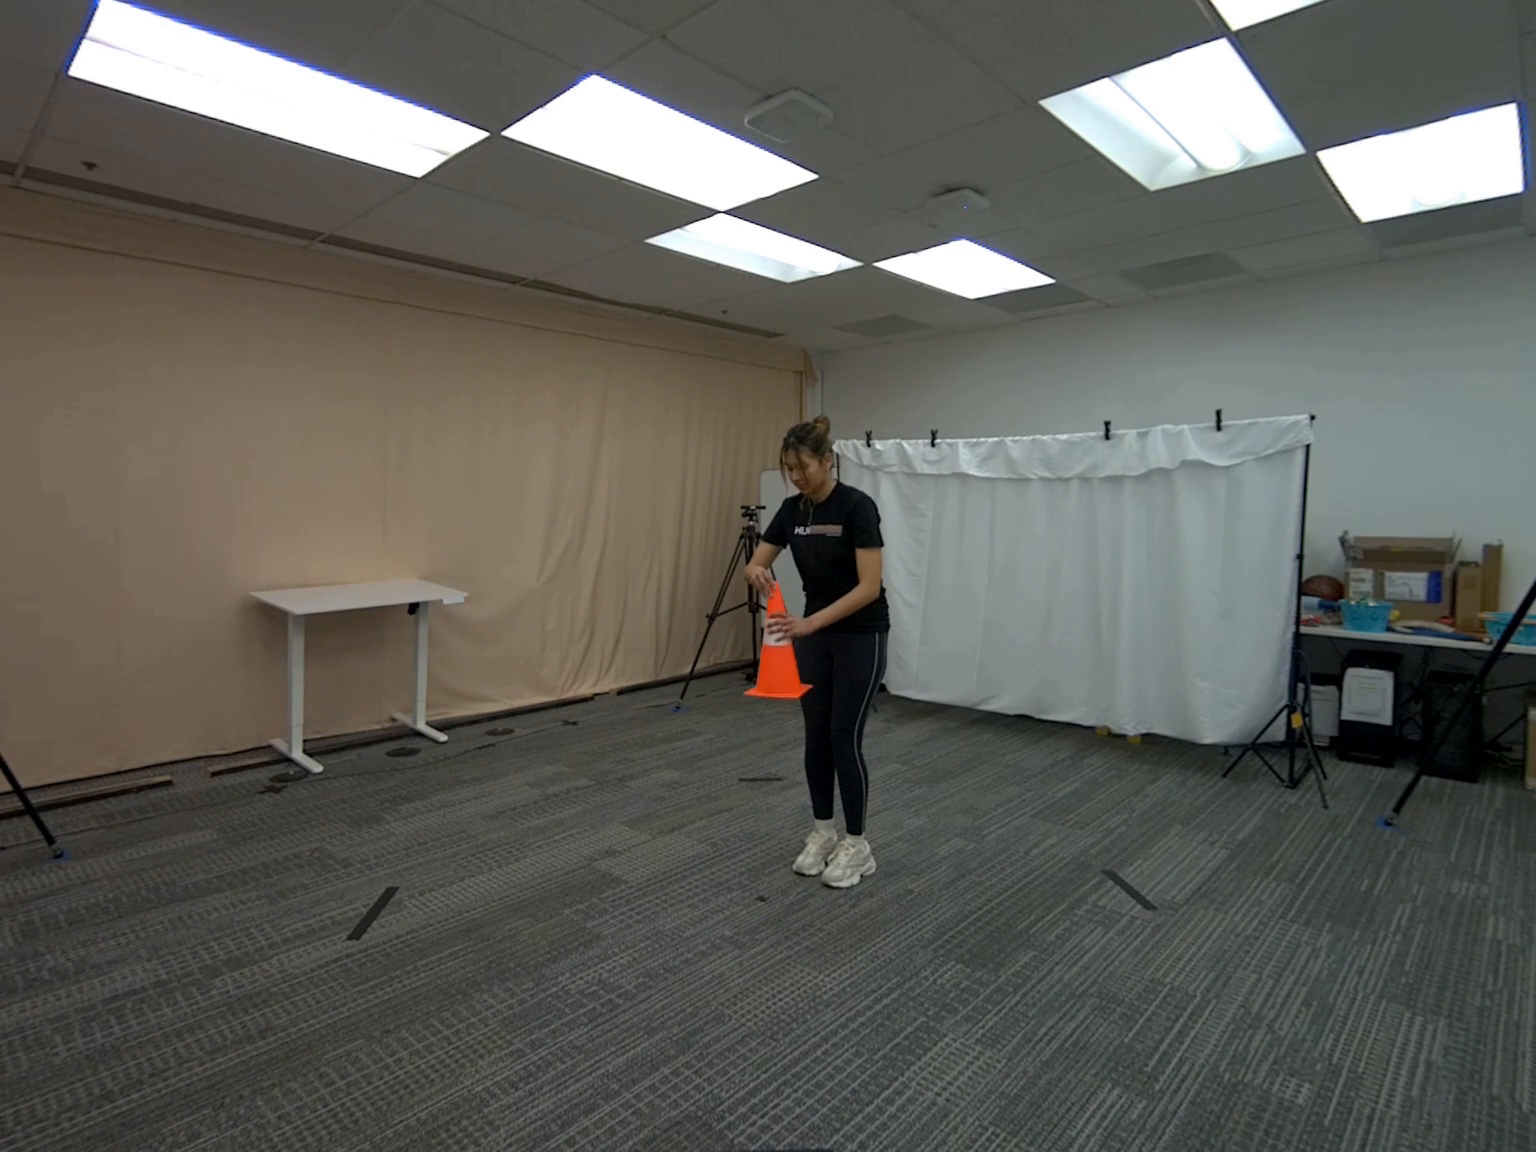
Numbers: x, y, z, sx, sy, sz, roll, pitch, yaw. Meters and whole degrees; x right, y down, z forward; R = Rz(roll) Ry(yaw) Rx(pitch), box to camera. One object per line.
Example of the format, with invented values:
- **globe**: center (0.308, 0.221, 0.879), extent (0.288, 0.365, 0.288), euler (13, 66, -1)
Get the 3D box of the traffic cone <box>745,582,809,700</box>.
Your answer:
- **traffic cone**: center (0.028, 0.225, 2.936), extent (0.208, 0.383, 0.200), euler (-1, 3, 26)
